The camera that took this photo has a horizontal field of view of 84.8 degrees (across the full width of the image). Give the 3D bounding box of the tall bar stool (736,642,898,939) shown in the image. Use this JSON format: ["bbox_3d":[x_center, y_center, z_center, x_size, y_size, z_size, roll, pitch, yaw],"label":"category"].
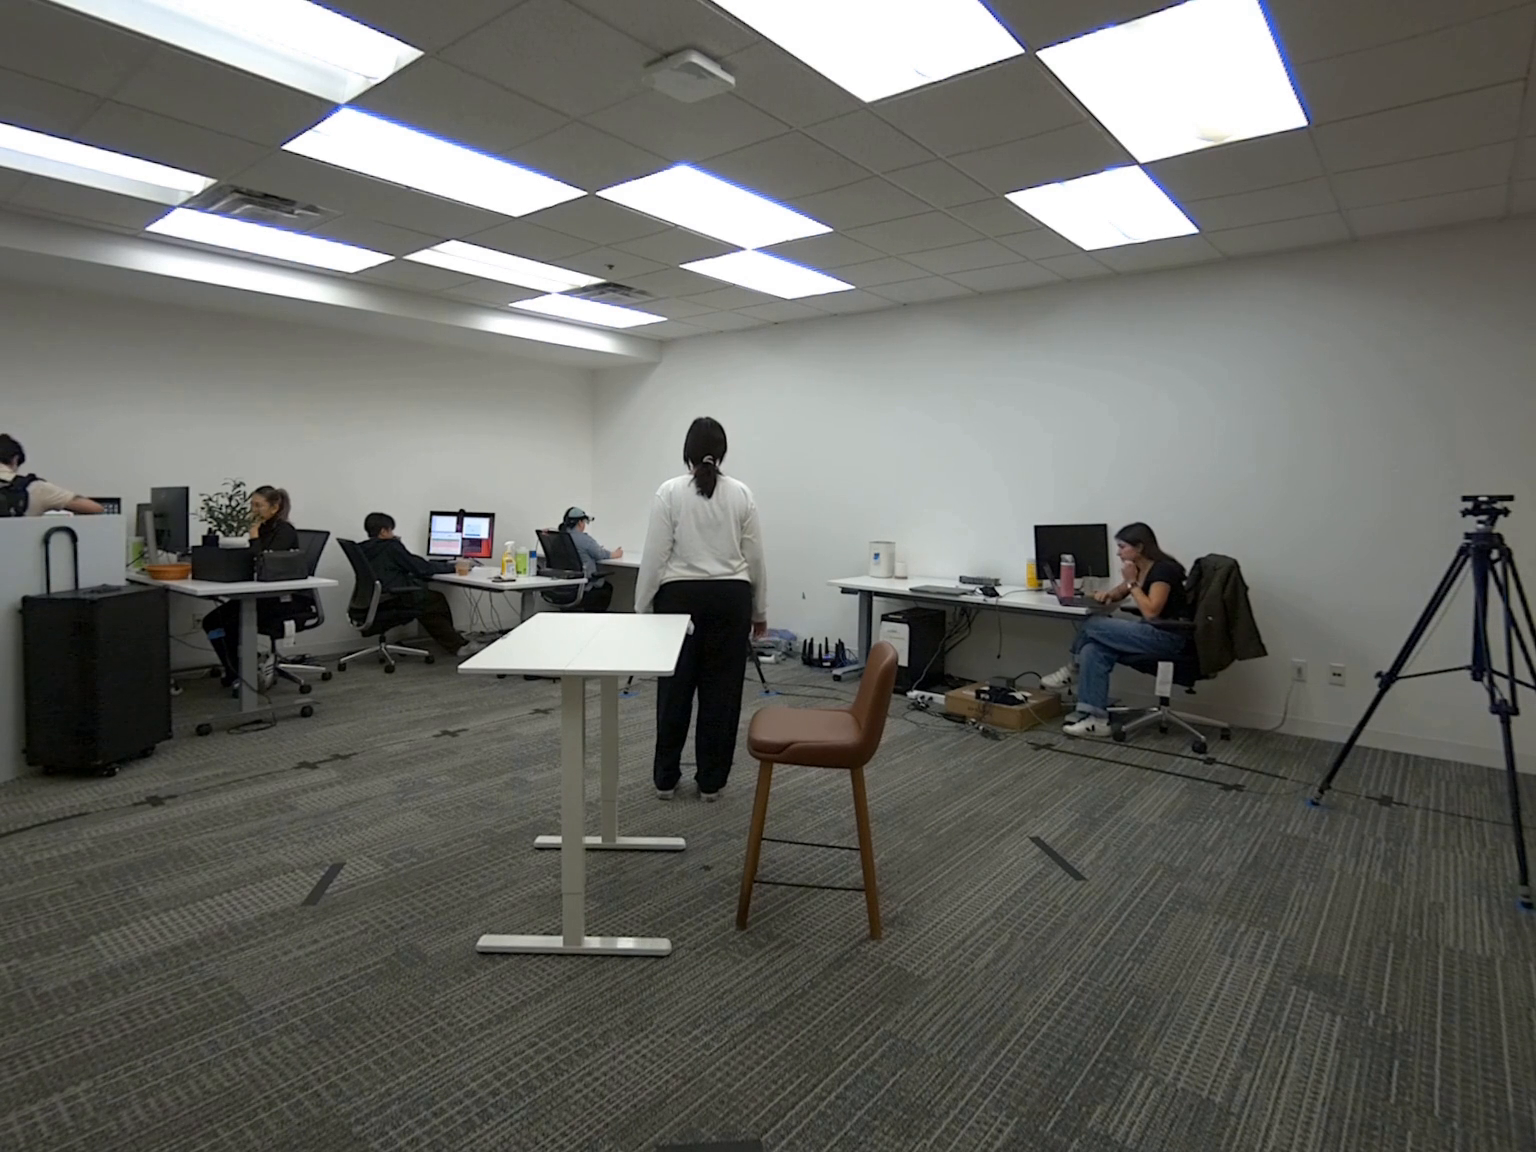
[{"bbox_3d":[0.157,0.667,2.825,0.472,0.887,0.454,4,4,7],"label":"tall bar stool"}]
